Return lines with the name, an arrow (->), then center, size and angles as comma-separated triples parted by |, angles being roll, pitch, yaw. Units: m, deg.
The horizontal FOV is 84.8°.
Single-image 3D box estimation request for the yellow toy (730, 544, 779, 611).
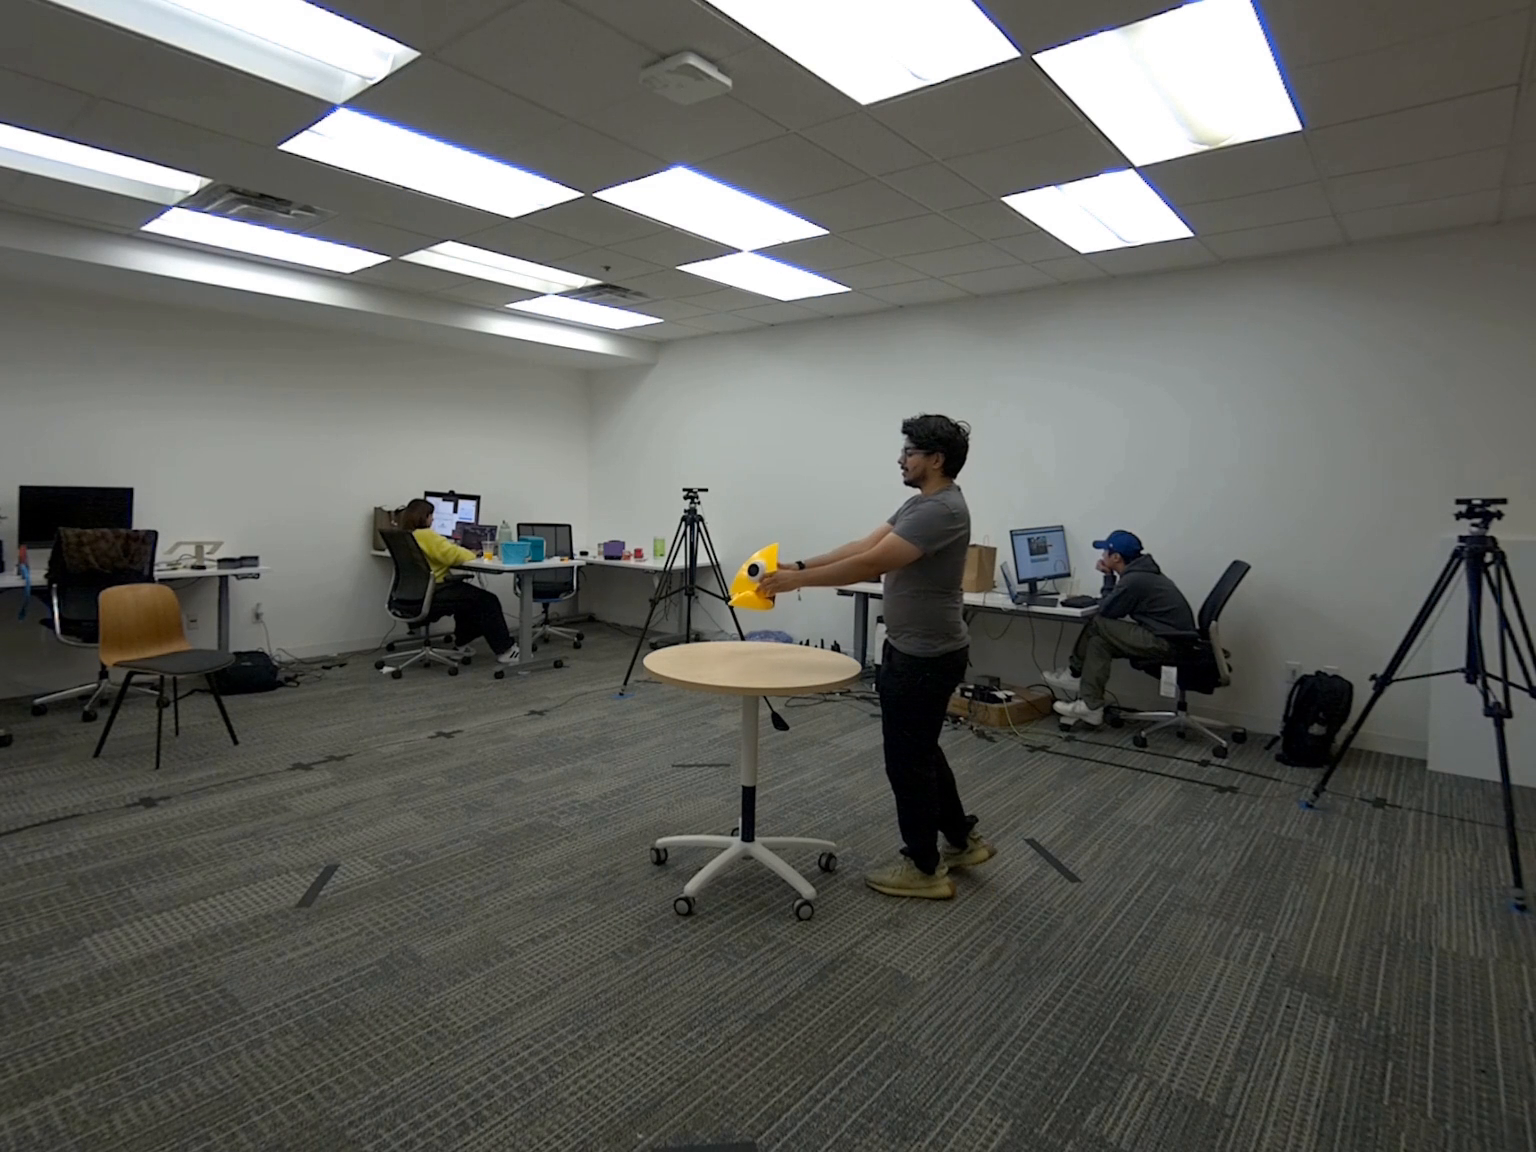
yellow toy -> -0.044, -0.014, 3.047 | 0.194, 0.229, 0.204 | 6, 6, 5
